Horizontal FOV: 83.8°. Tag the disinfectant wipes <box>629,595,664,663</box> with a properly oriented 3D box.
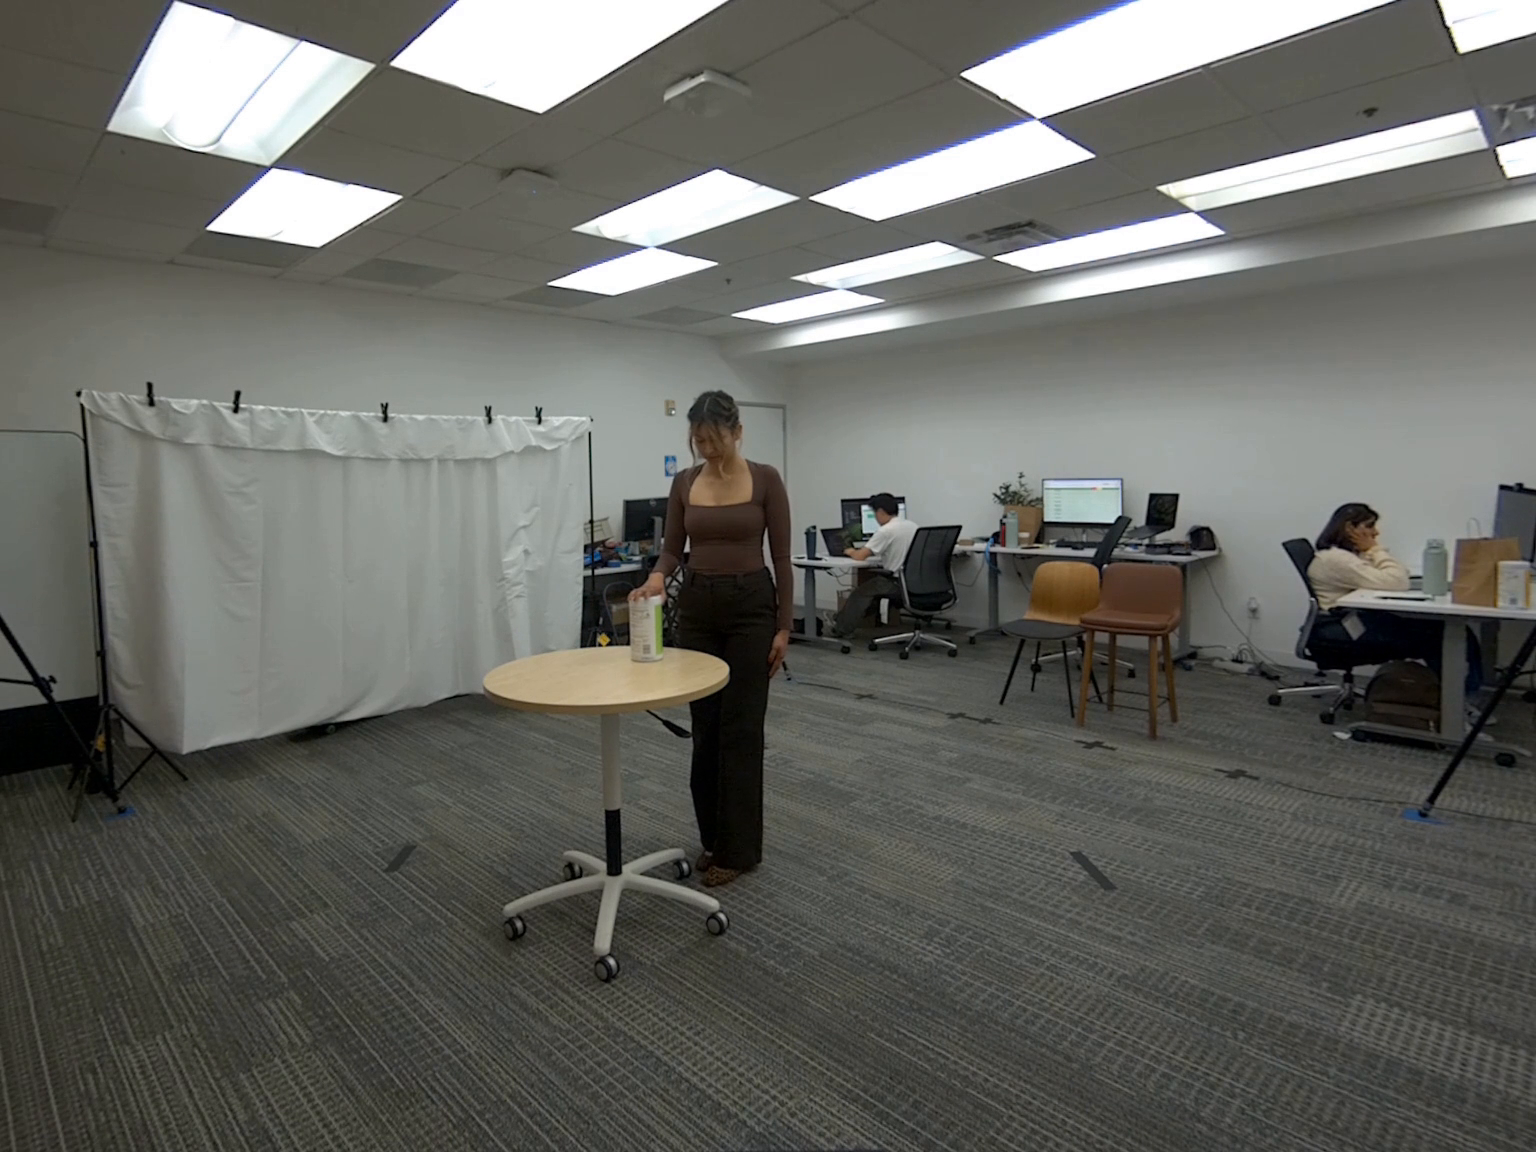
[{"bbox_3d":[-0.401,0.173,2.858,0.118,0.217,0.118,0,3,-2],"label":"disinfectant wipes"}]
